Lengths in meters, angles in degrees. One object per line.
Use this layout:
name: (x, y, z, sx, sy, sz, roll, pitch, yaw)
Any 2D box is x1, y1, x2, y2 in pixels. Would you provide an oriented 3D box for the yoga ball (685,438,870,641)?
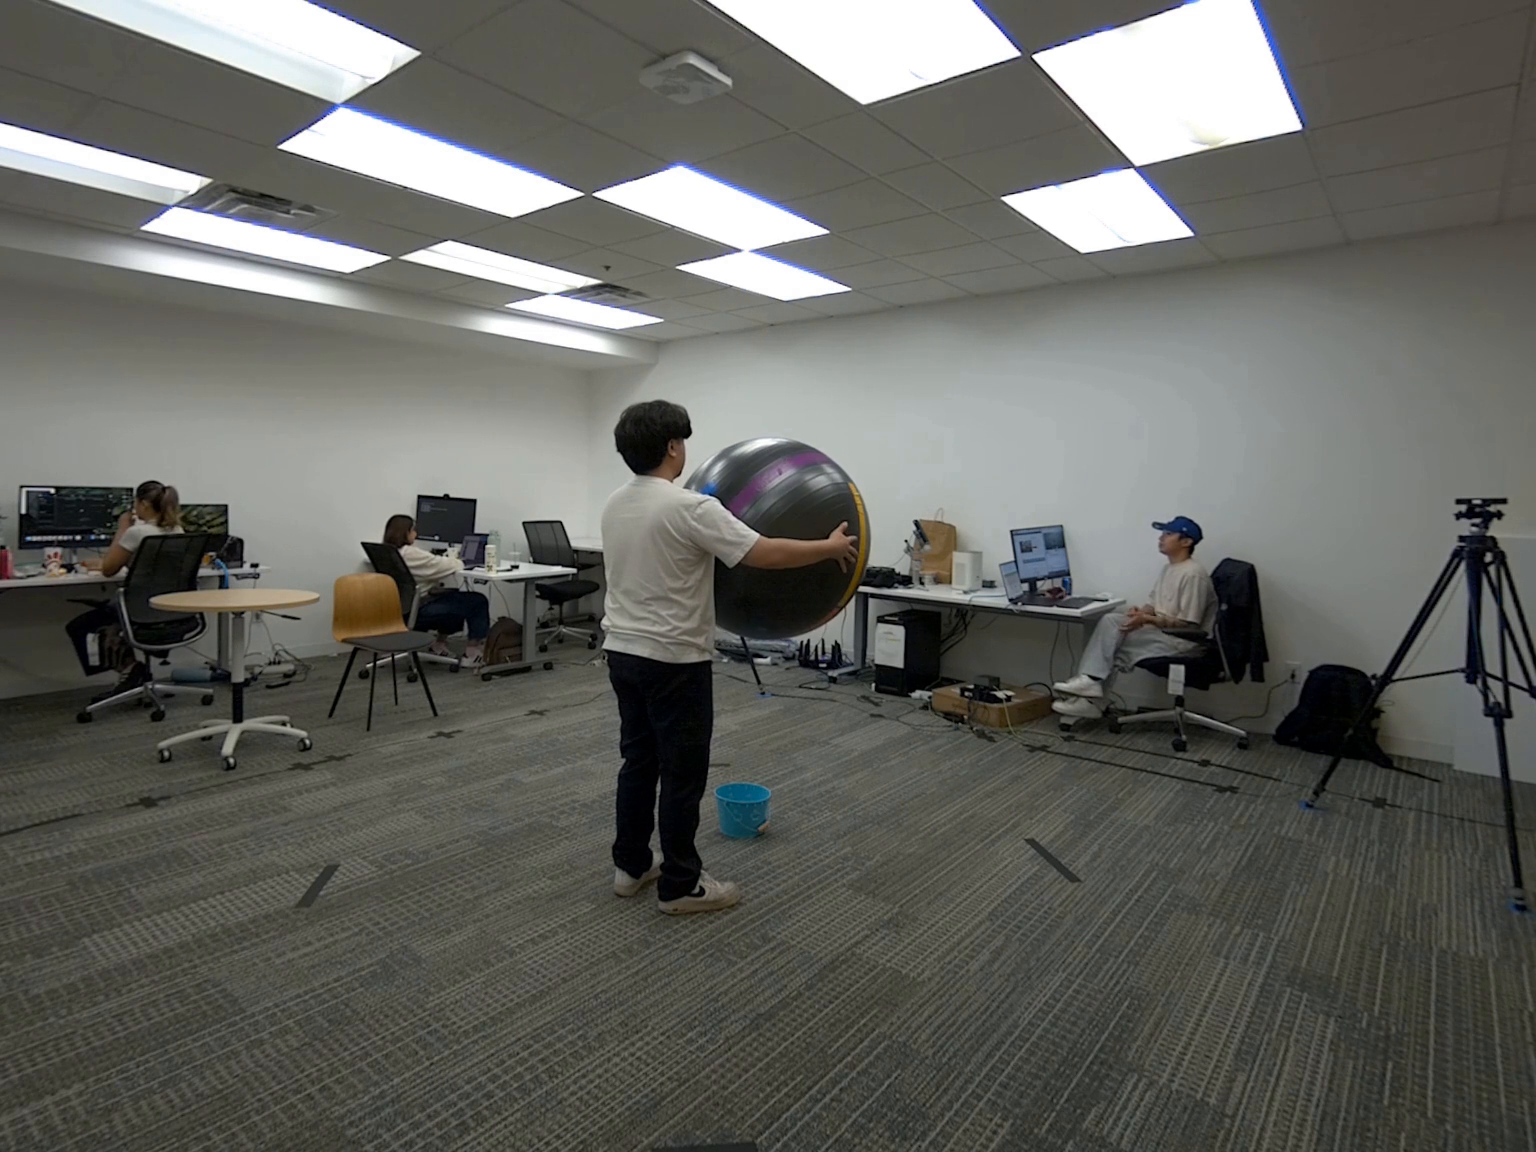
yoga ball: (0.004, -0.139, 3.220, 0.757, 0.755, 0.762, 1, 4, -2)
